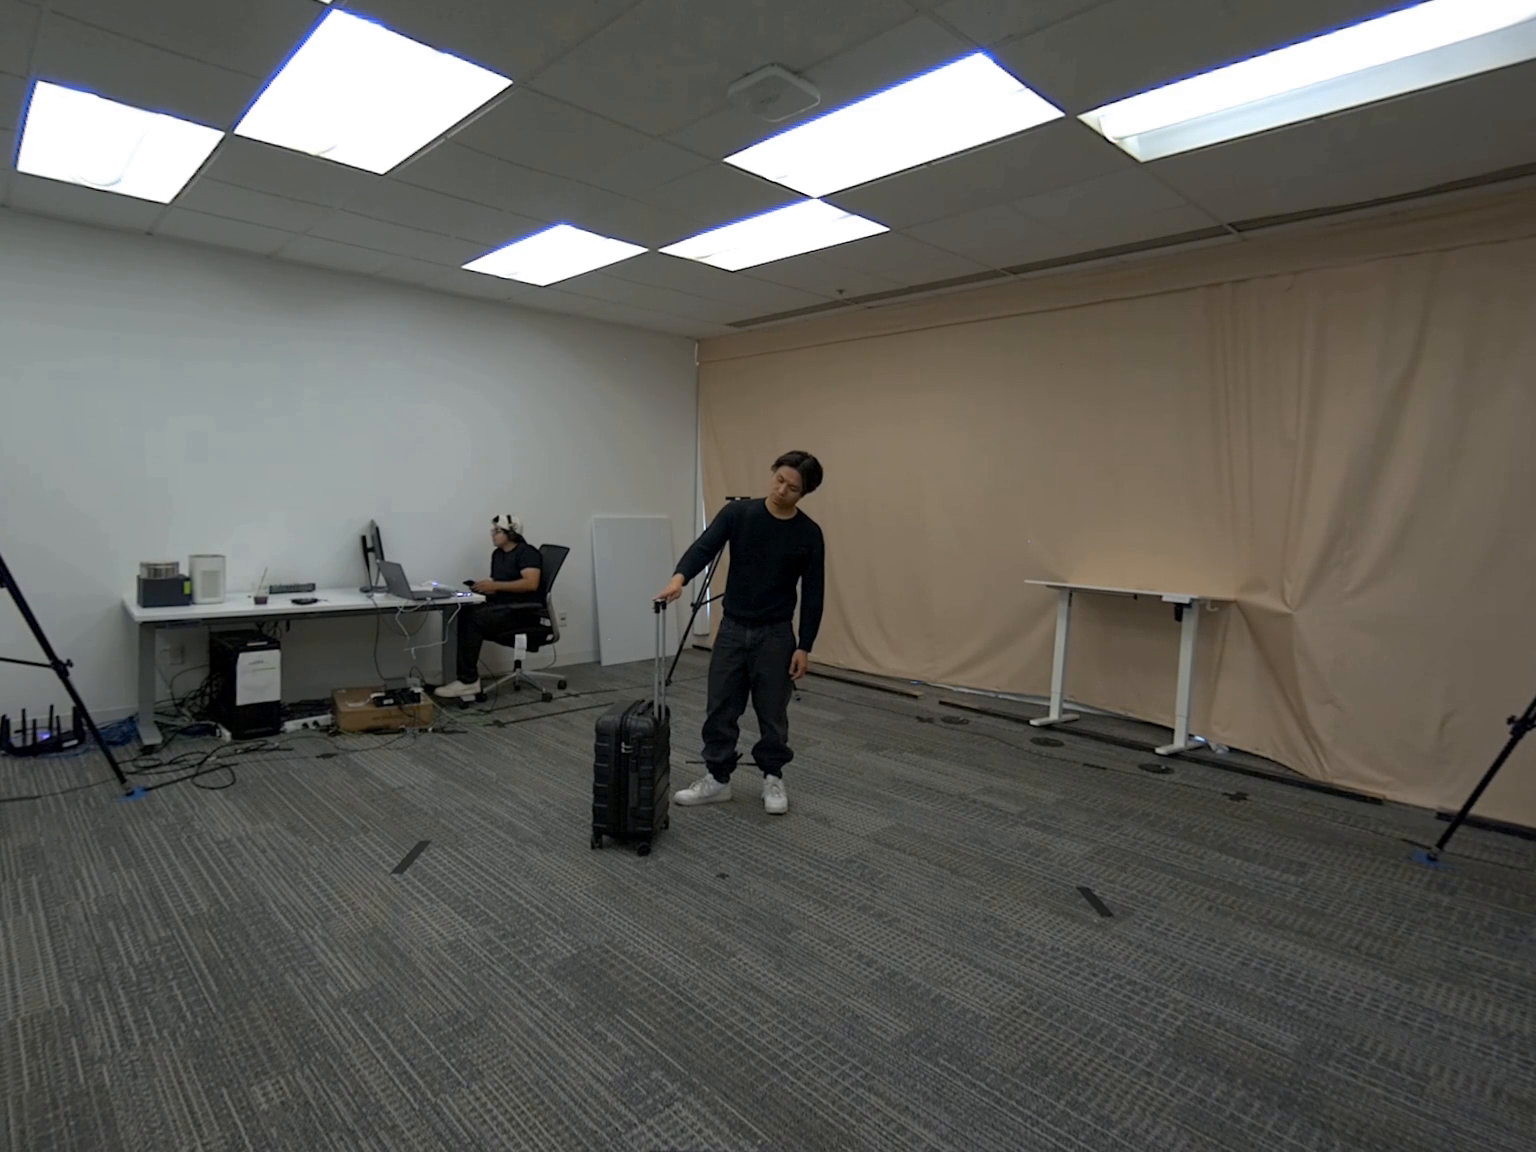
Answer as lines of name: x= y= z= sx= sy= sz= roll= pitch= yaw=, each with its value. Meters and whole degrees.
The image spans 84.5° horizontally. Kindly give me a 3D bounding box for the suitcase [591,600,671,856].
suitcase: x=-0.558 y=0.594 z=3.418 sx=0.258 sy=0.977 sz=0.382 roll=0 pitch=2 yaw=6
